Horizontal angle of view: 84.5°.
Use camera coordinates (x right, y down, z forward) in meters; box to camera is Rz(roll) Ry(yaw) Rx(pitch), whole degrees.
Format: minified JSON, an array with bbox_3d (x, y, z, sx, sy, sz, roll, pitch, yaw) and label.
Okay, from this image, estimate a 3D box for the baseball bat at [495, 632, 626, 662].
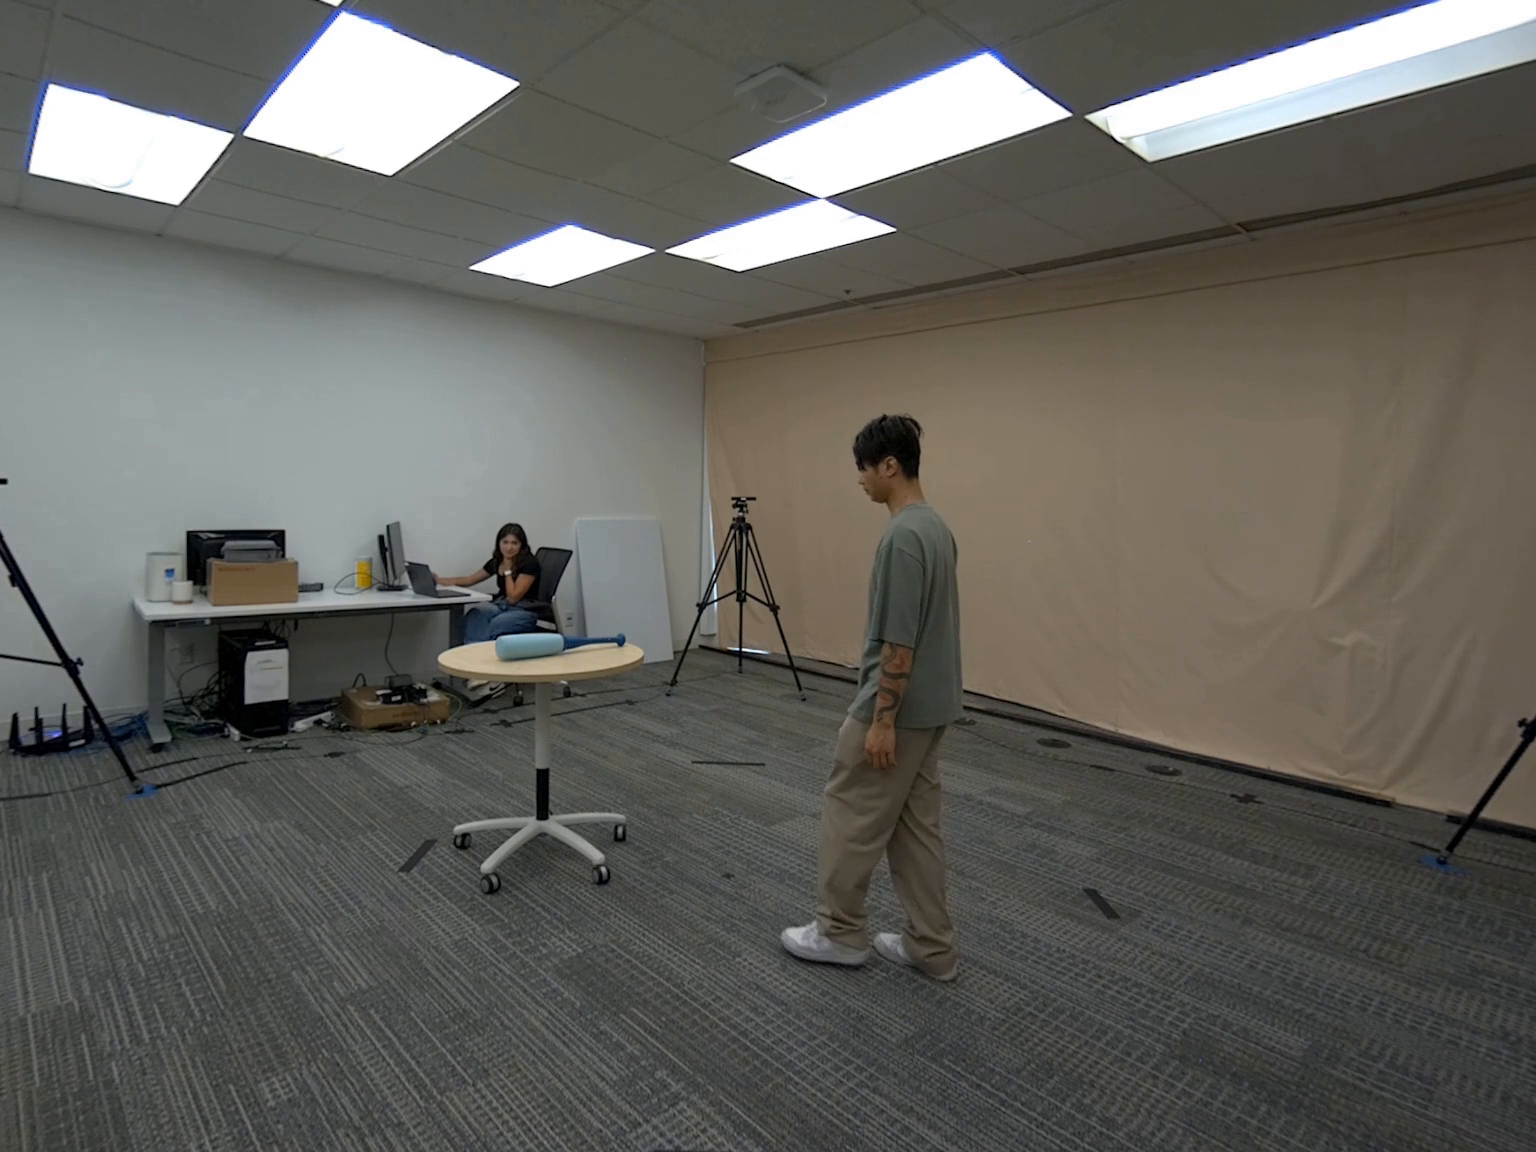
[{"bbox_3d":[-0.787,0.260,3.226,0.530,0.089,0.091,-1,5,-42],"label":"baseball bat"}]
